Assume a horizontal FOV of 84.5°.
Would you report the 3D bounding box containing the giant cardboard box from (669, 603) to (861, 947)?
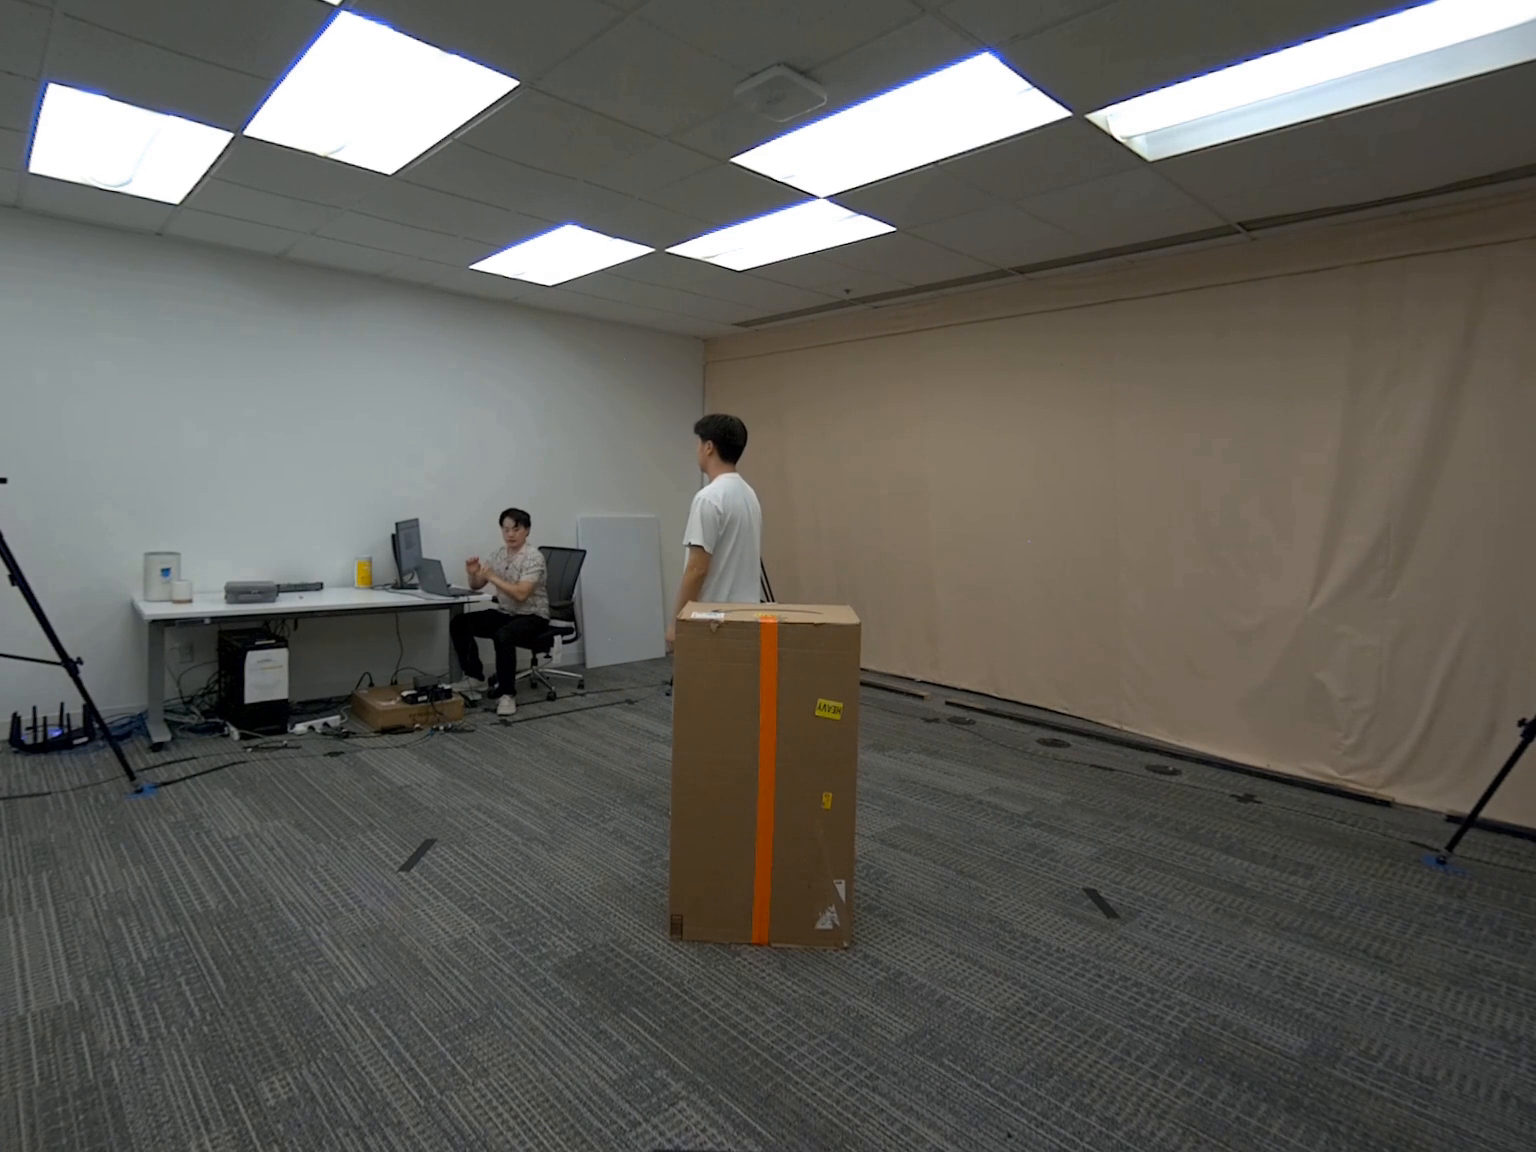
[{"bbox_3d":[-0.012,0.633,2.796,0.578,1.023,0.427,1,4,1],"label":"giant cardboard box"}]
